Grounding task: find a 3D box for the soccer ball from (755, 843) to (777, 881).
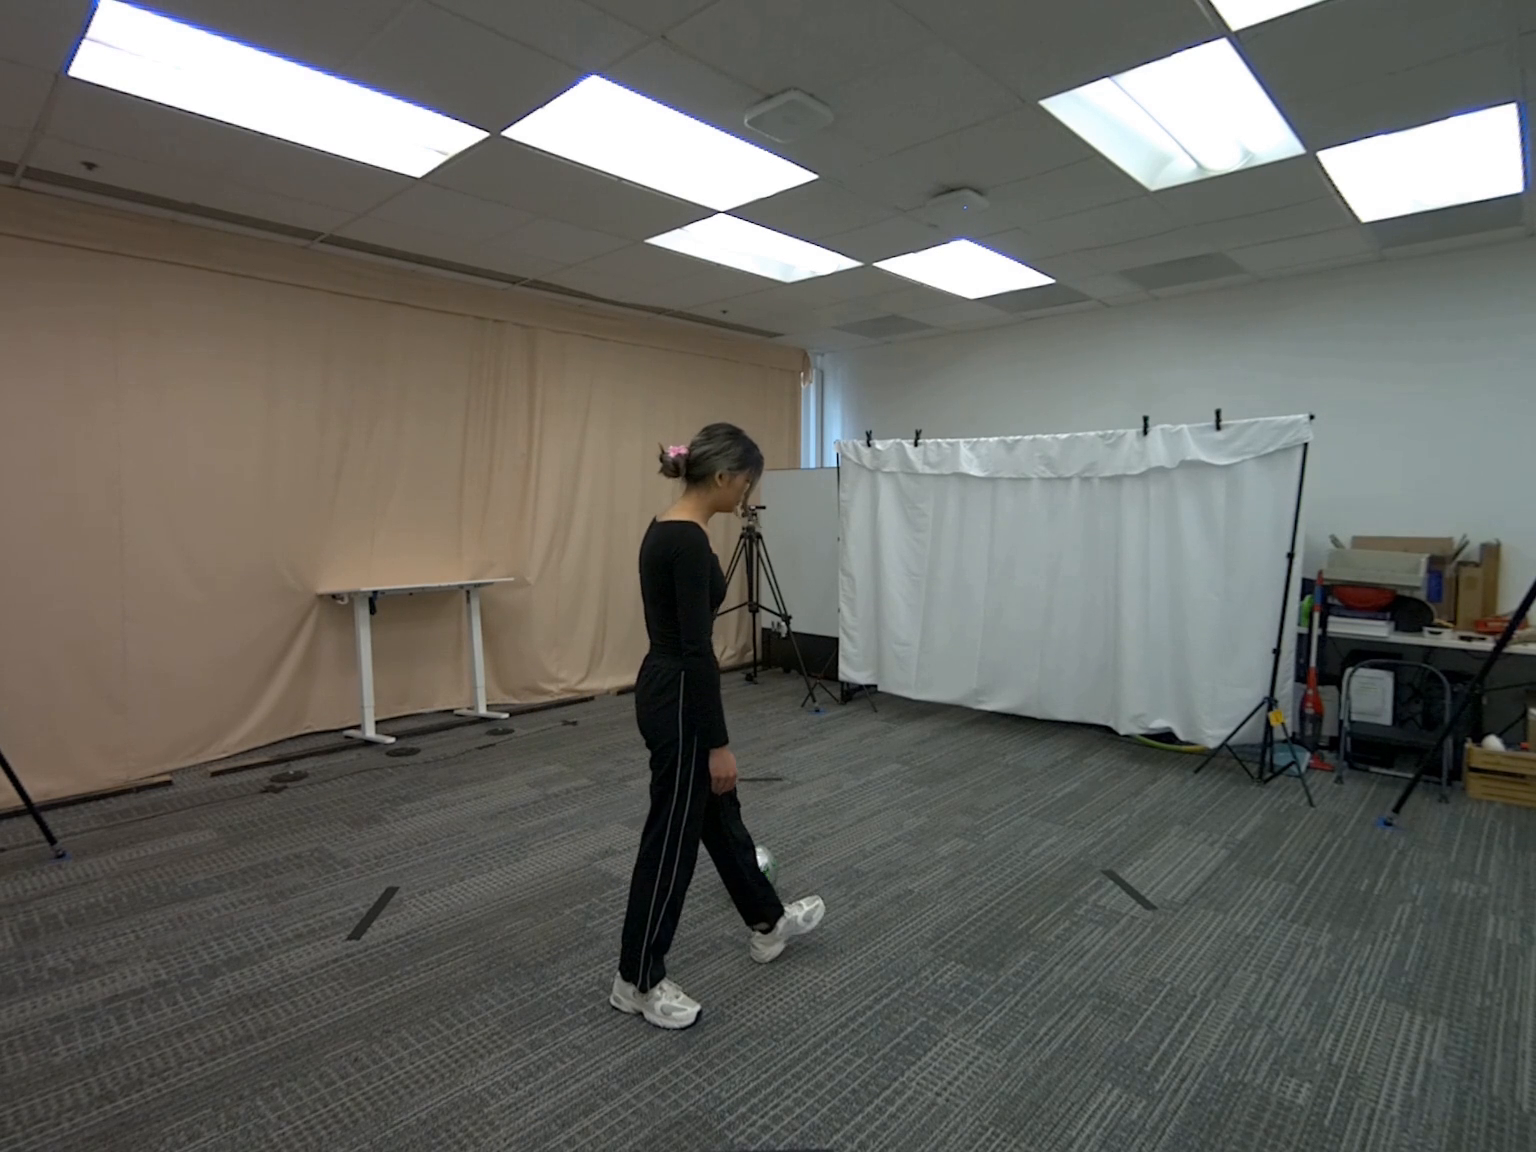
[{"bbox_3d":[-0.051,1.047,2.996,0.187,0.187,0.188,0,4,-2],"label":"soccer ball"}]
